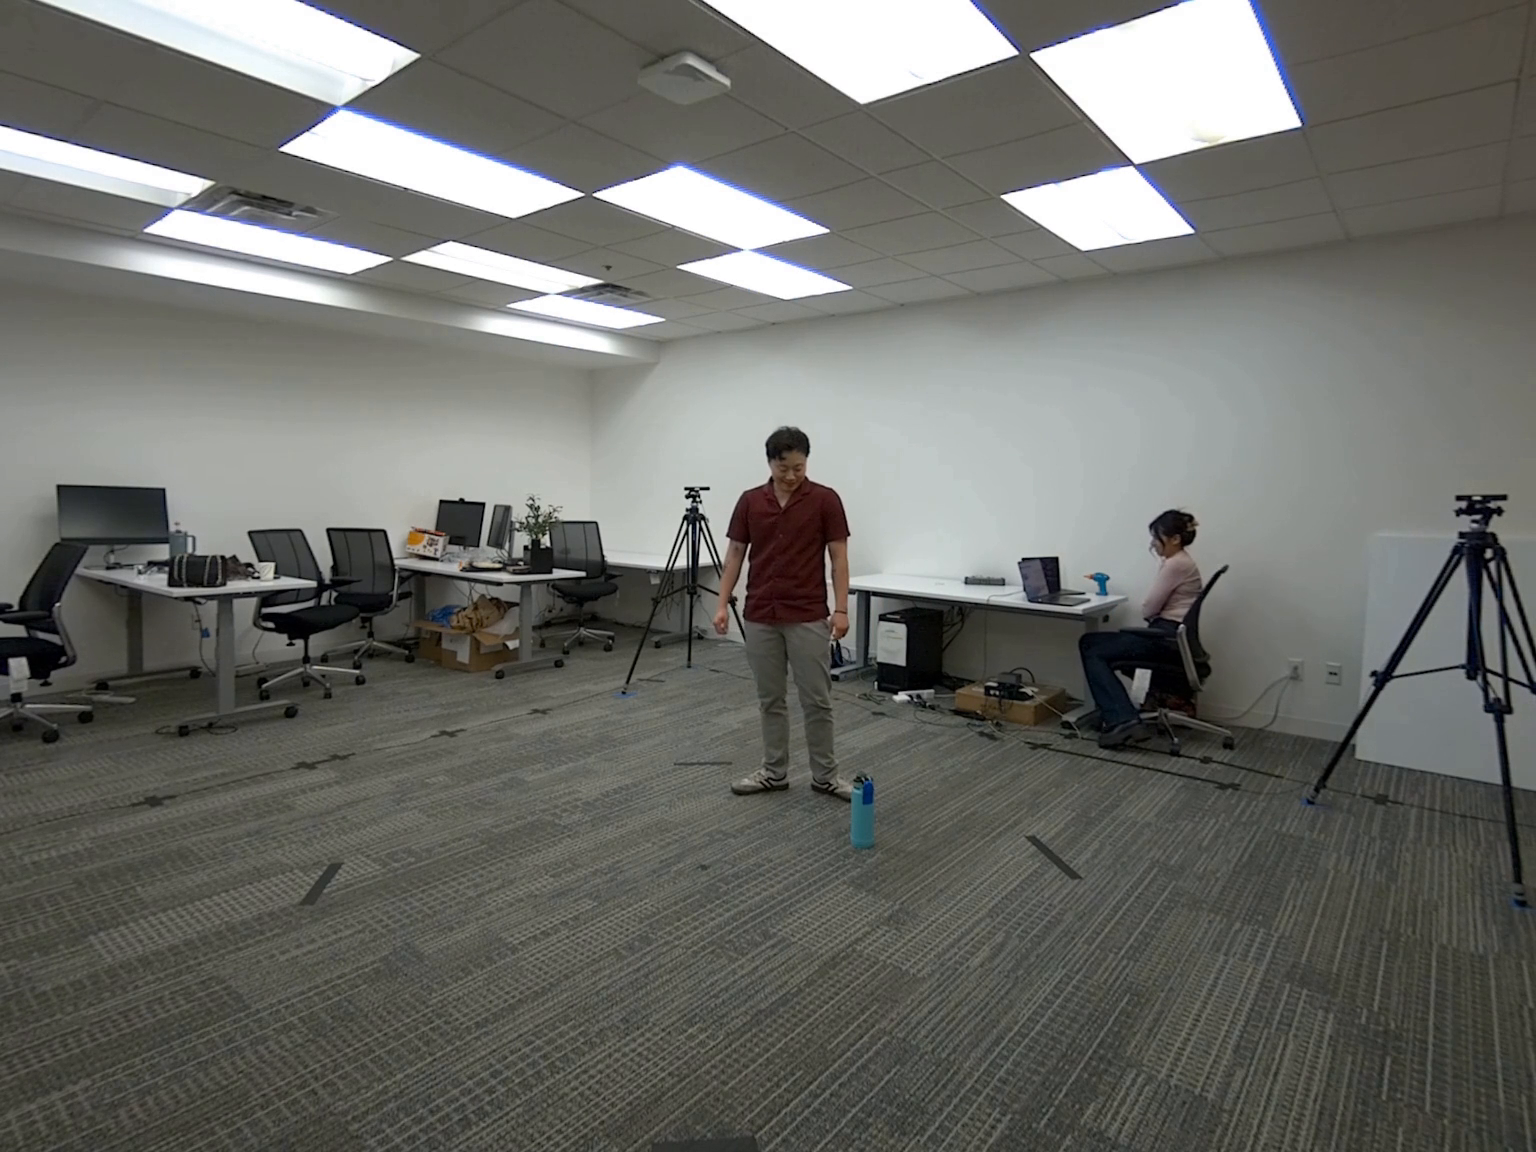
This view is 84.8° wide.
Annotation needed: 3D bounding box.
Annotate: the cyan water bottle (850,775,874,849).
[{"bbox_3d":[0.372,0.914,3.351,0.092,0.282,0.093,2,4,-2],"label":"cyan water bottle"}]
